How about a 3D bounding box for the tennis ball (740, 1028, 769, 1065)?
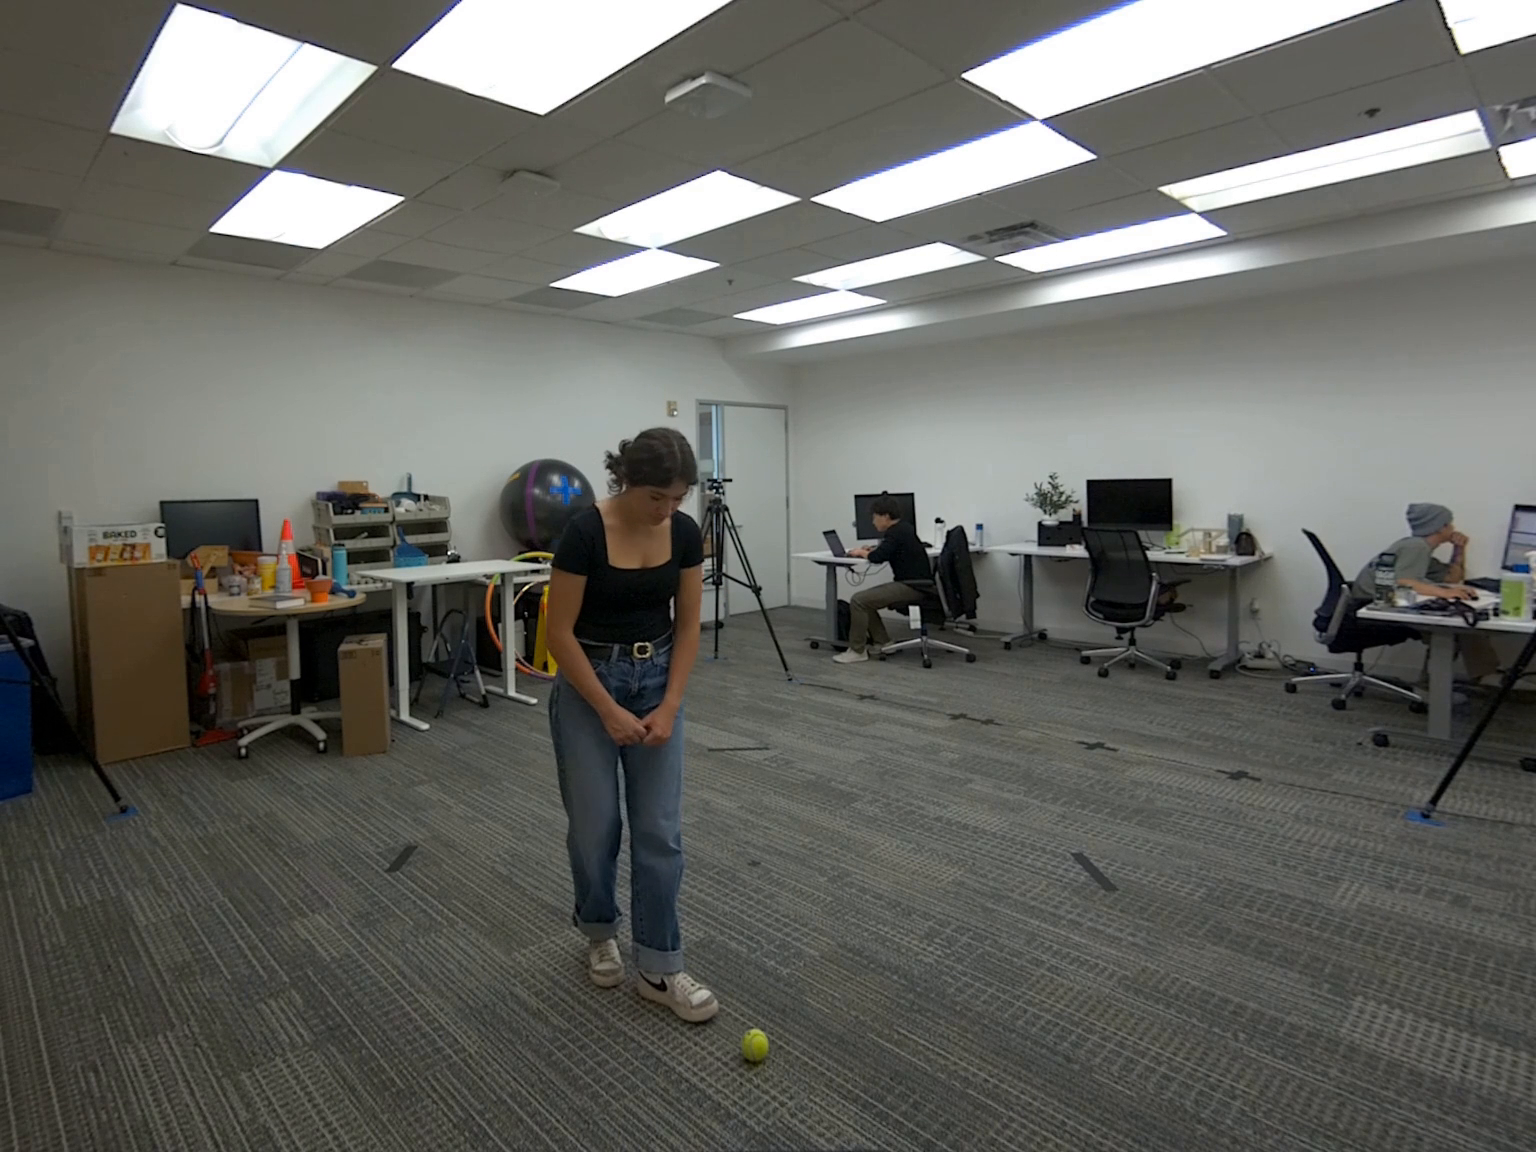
[{"bbox_3d":[-0.032,1.126,2.074,0.066,0.066,0.067,-1,5,-2],"label":"tennis ball"}]
